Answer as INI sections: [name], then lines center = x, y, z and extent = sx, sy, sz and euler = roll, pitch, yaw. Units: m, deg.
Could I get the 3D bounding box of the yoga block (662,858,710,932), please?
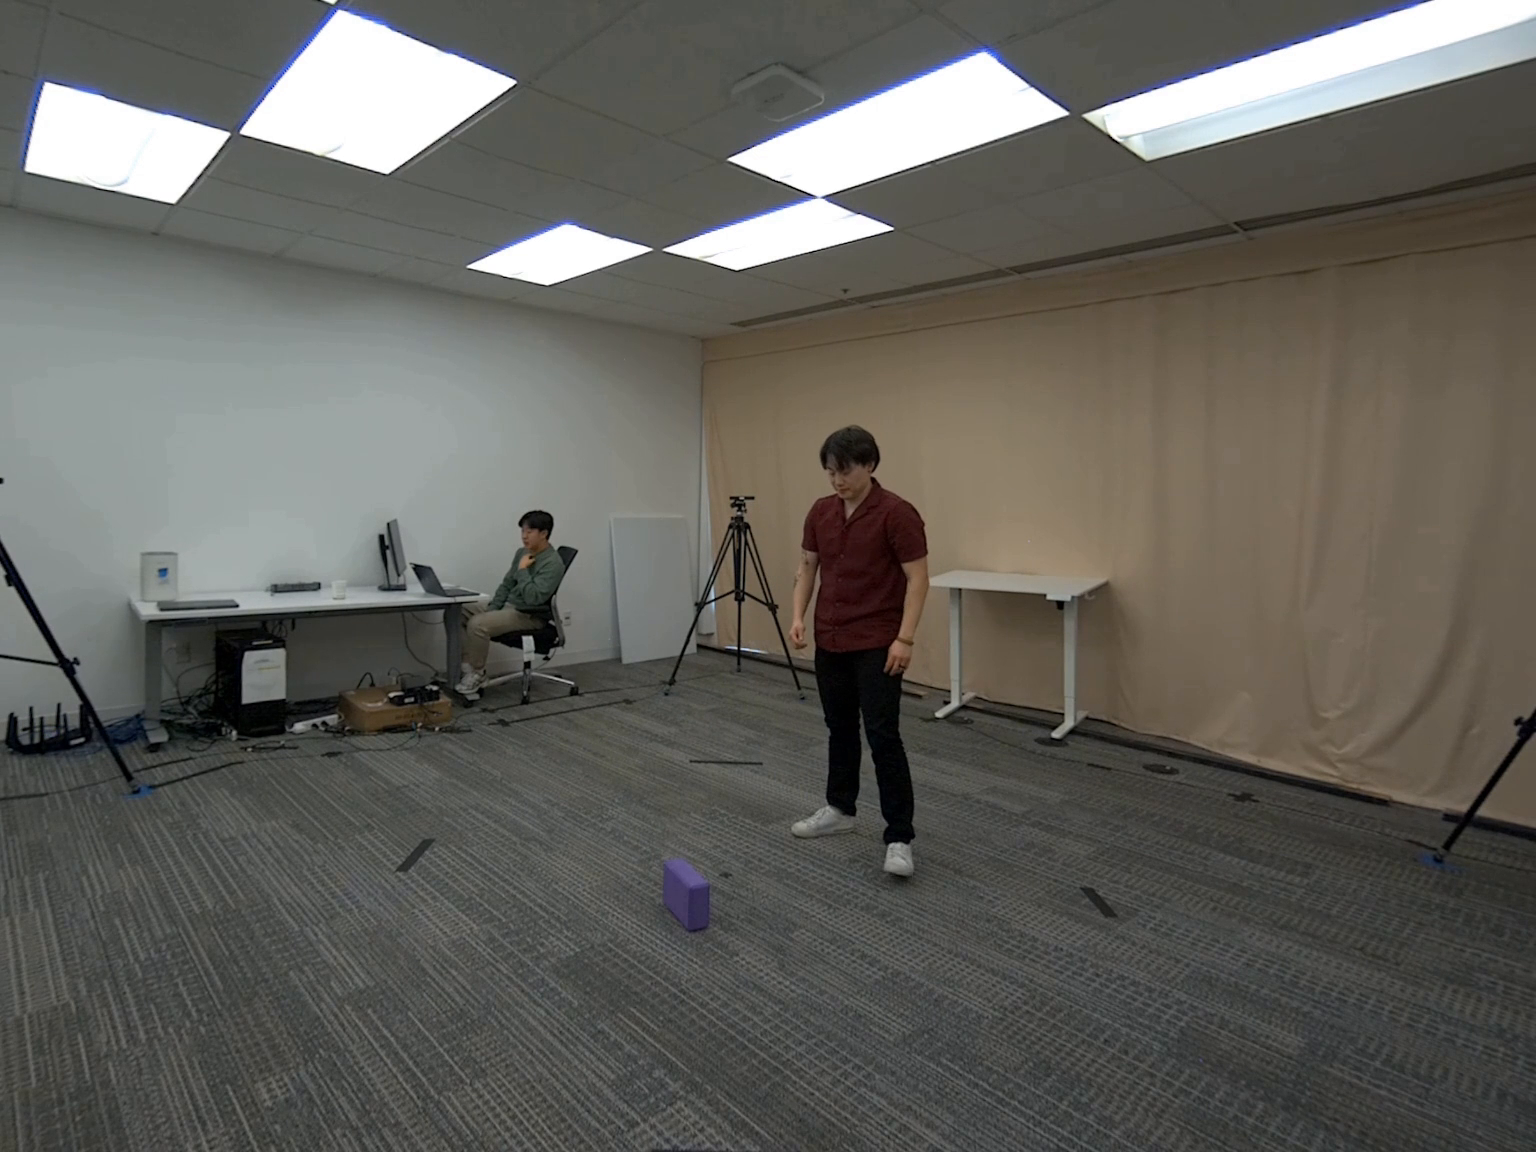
[yoga block]
center = -0.280, 1.053, 2.794
extent = 0.075, 0.148, 0.234
euler = 0, 5, -28
